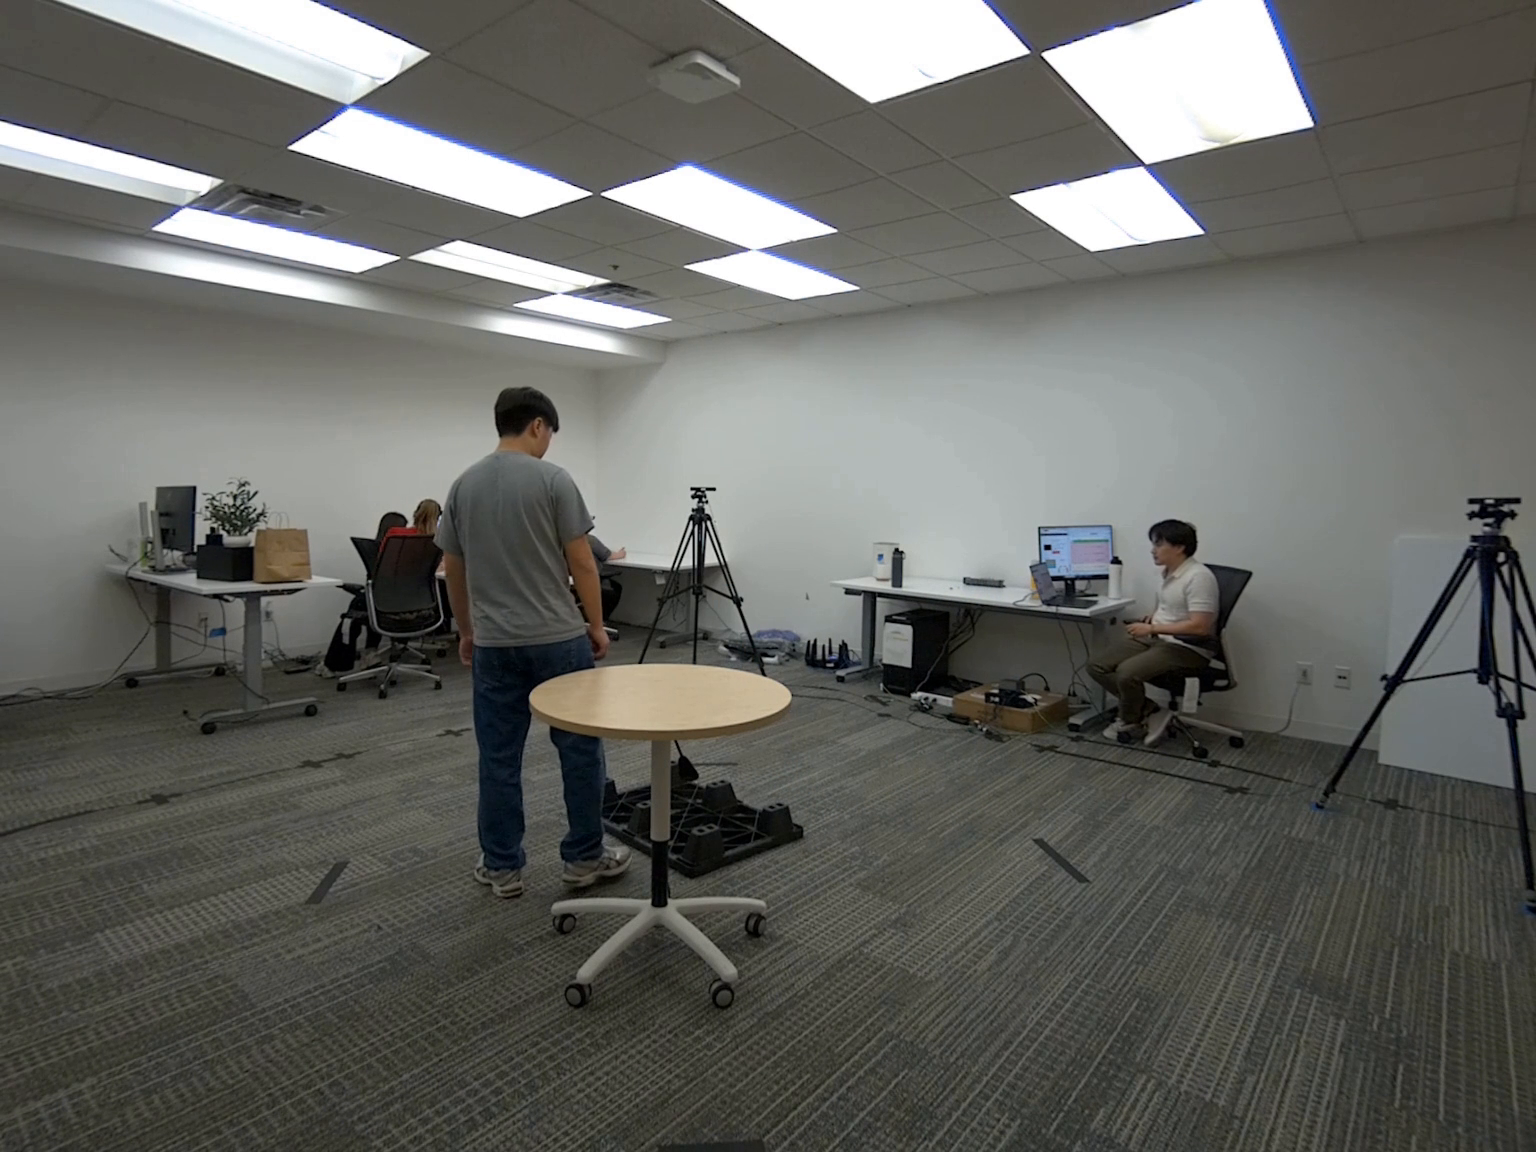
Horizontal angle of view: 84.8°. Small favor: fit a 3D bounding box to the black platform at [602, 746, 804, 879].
[{"bbox_3d":[-0.355,0.958,3.504,0.587,0.143,0.833,-4,7,-44],"label":"black platform"}]
